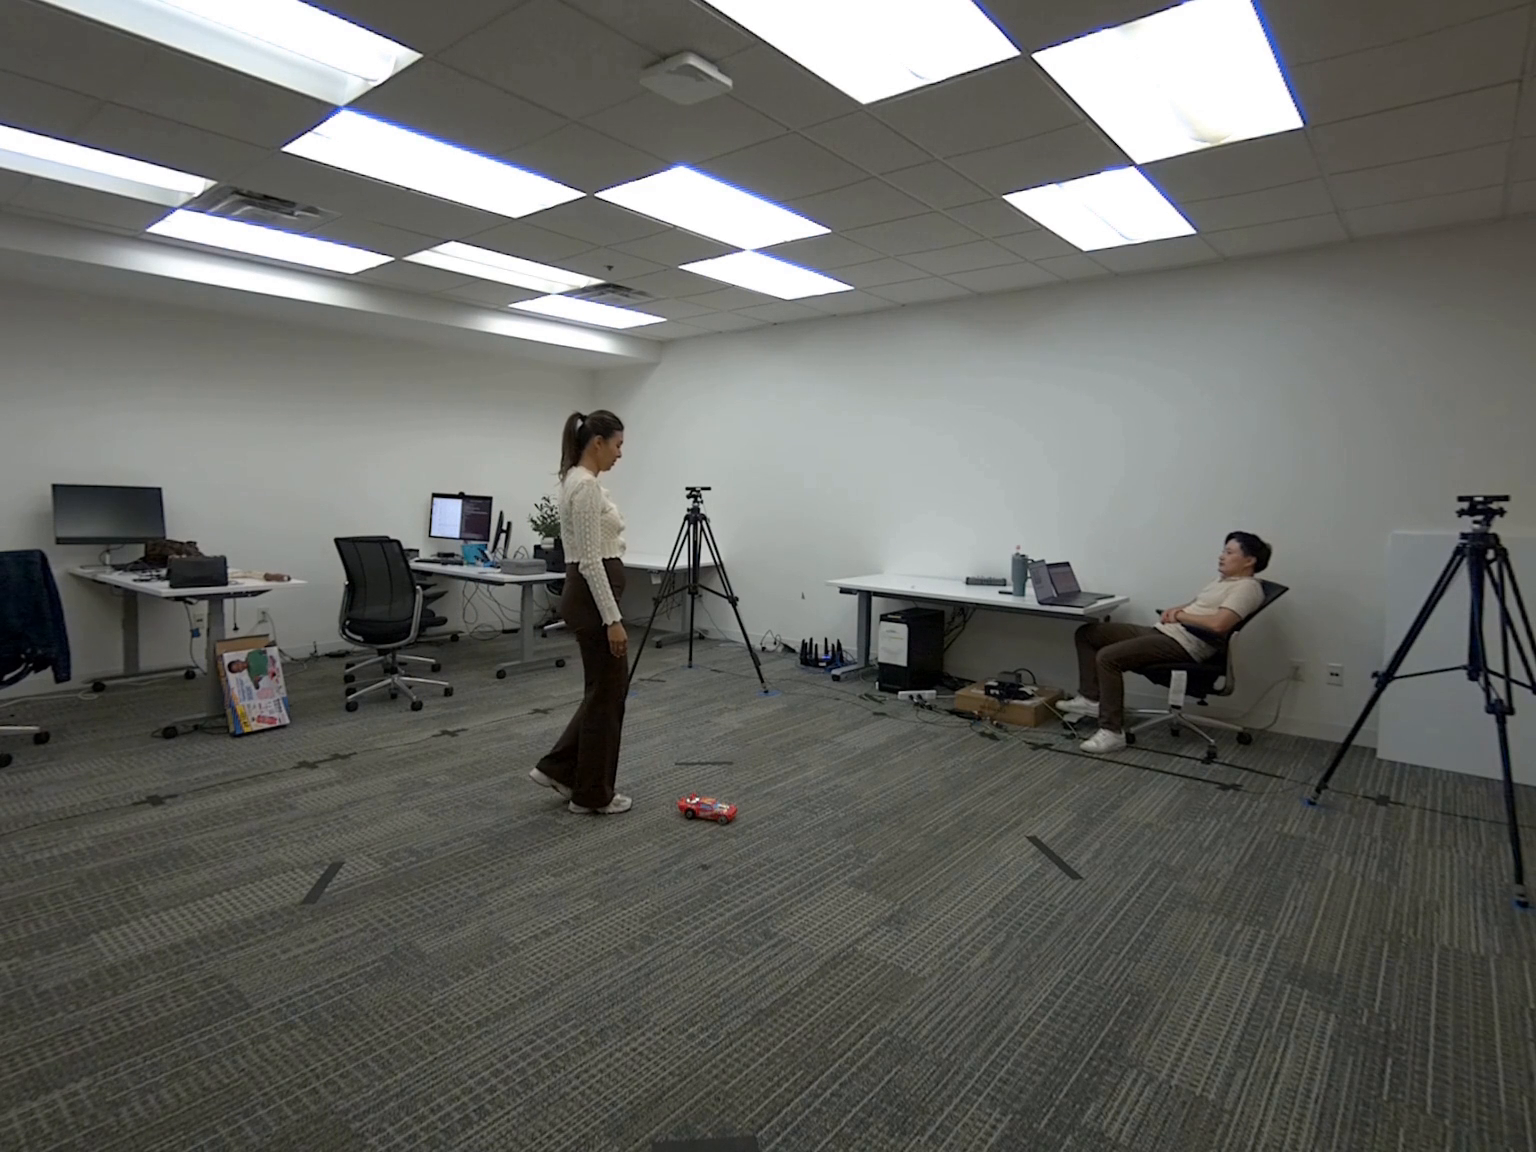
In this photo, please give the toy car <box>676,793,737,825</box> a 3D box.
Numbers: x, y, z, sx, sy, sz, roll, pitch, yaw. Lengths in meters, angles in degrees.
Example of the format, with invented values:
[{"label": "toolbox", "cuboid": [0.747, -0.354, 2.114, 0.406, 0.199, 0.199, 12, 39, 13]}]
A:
[{"label": "toy car", "cuboid": [-0.273, 0.983, 3.598, 0.260, 0.083, 0.128, 14, 9, 18]}]
